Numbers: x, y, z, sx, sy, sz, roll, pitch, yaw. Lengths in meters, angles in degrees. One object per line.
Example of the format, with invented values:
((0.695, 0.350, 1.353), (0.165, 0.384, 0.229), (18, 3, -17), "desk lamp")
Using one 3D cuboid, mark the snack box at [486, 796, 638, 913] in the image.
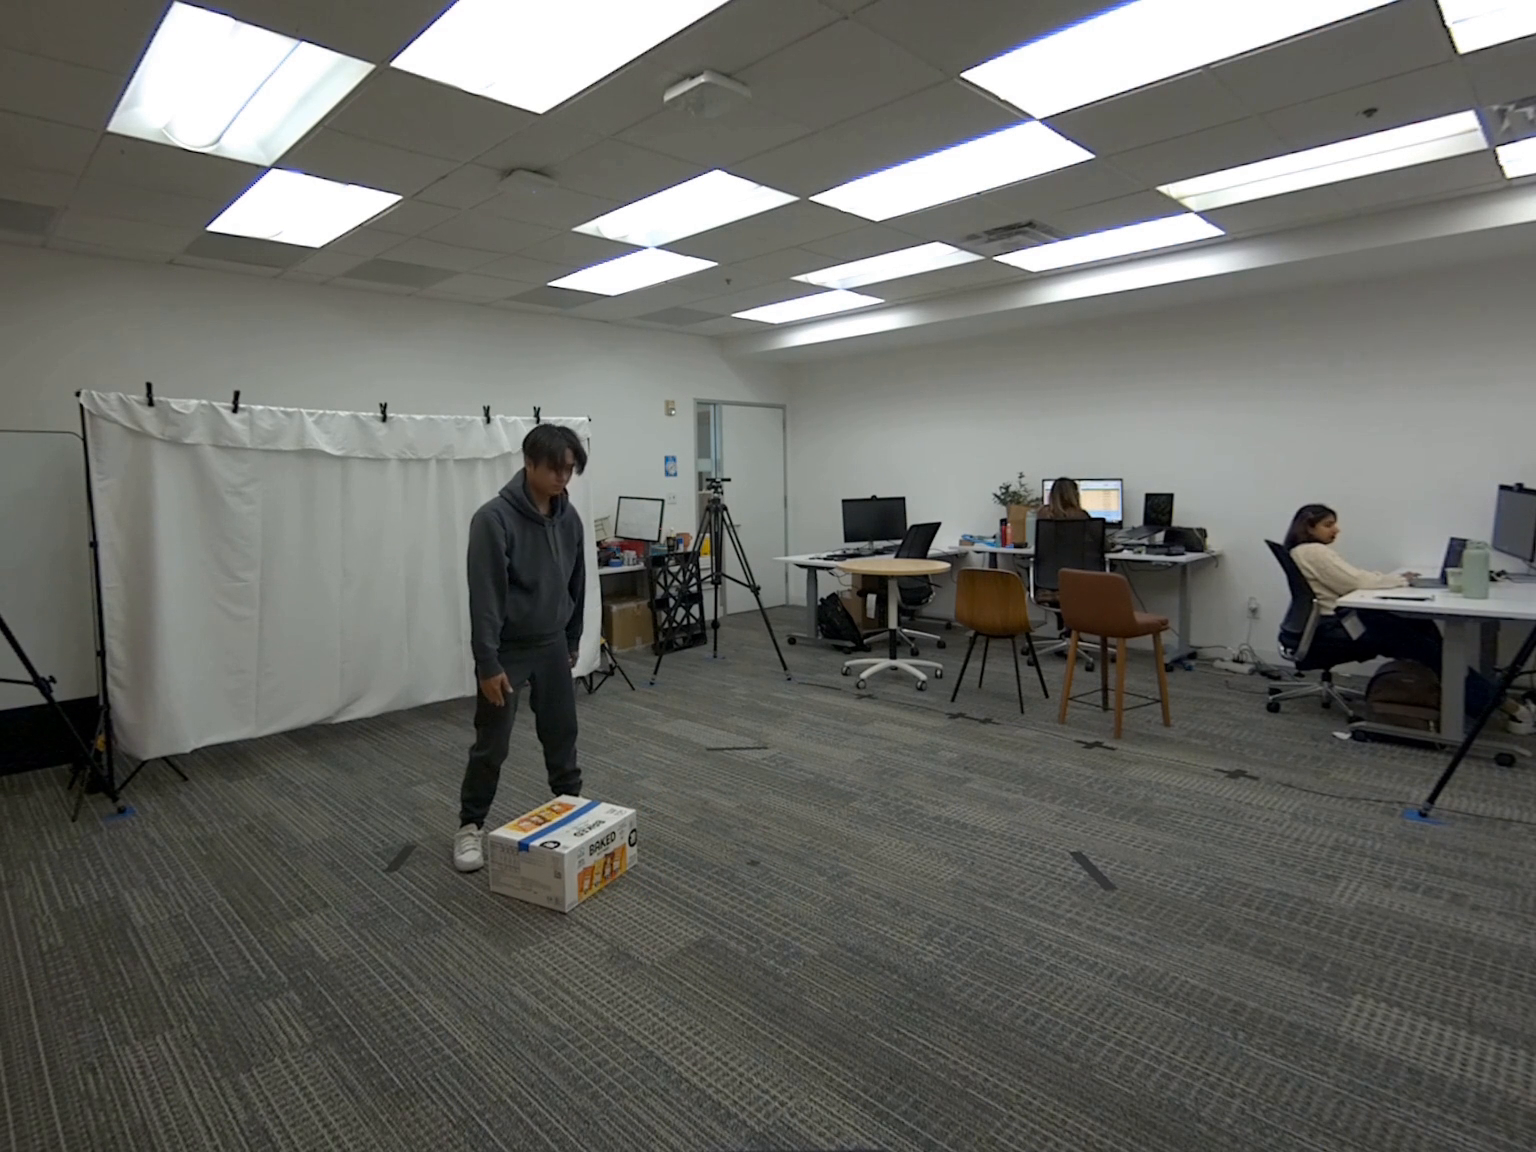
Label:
((-0.713, 0.964, 3.011), (0.349, 0.205, 0.397), (2, 7, 28), "snack box")
